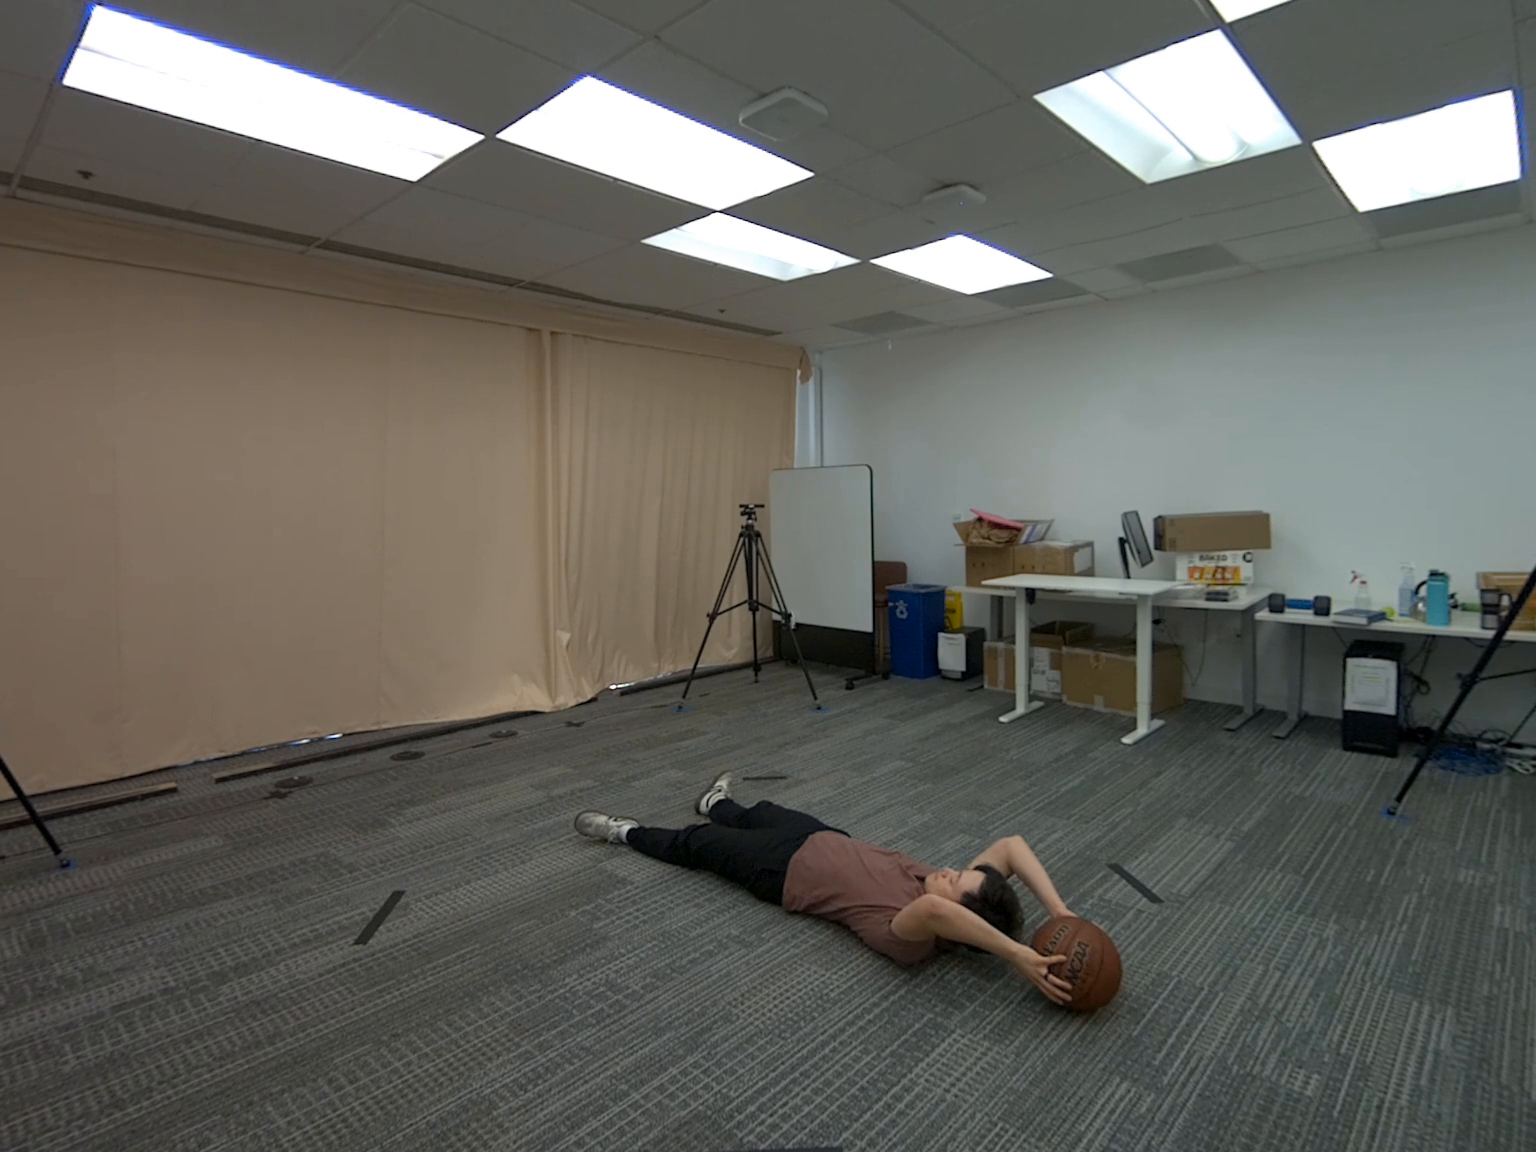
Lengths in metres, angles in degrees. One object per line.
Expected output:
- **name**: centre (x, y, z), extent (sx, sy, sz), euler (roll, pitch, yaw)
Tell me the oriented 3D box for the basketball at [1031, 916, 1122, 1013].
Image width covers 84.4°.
- **basketball**: centre (0.836, 1.047, 2.319), extent (0.236, 0.235, 0.236), euler (-1, 3, -2)
